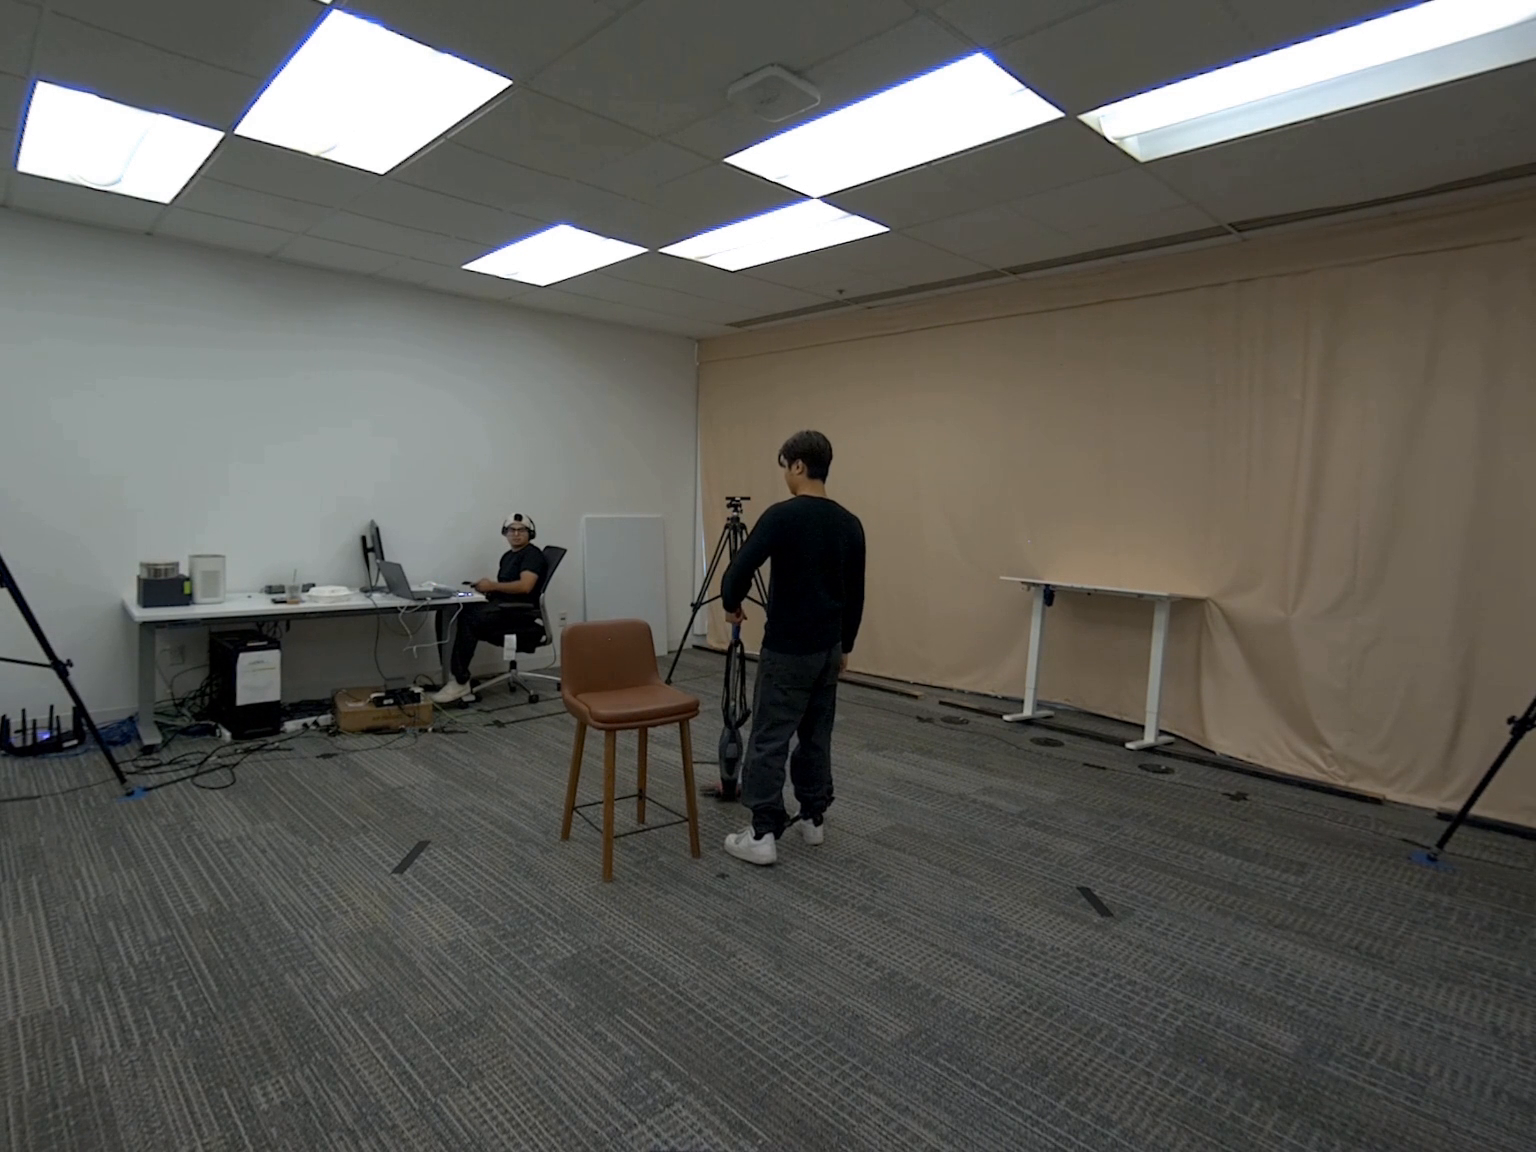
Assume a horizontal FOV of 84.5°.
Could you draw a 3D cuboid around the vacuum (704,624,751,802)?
[{"bbox_3d":[-0.167,0.577,3.683,0.250,1.031,0.148,-3,30,-12],"label":"vacuum"}]
